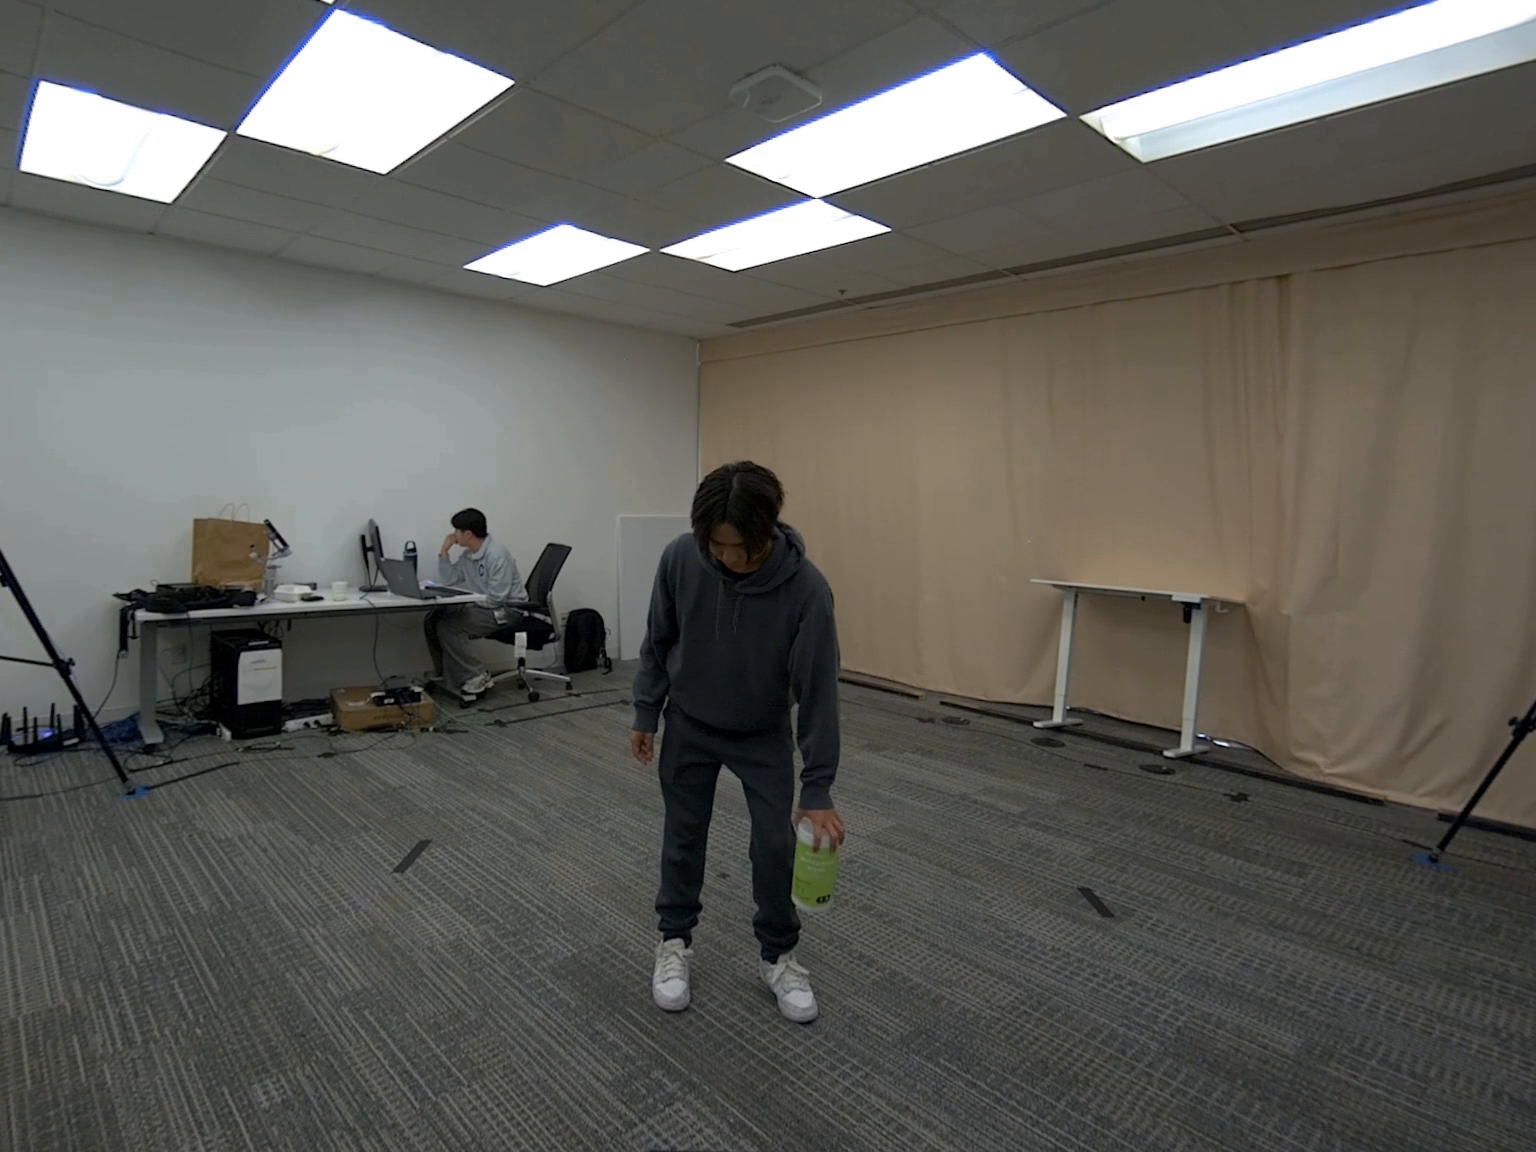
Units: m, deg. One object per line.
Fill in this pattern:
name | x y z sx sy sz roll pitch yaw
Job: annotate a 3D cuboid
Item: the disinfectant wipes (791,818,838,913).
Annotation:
disinfectant wipes | 0.110 0.743 2.164 0.117 0.215 0.119 3 12 -2
